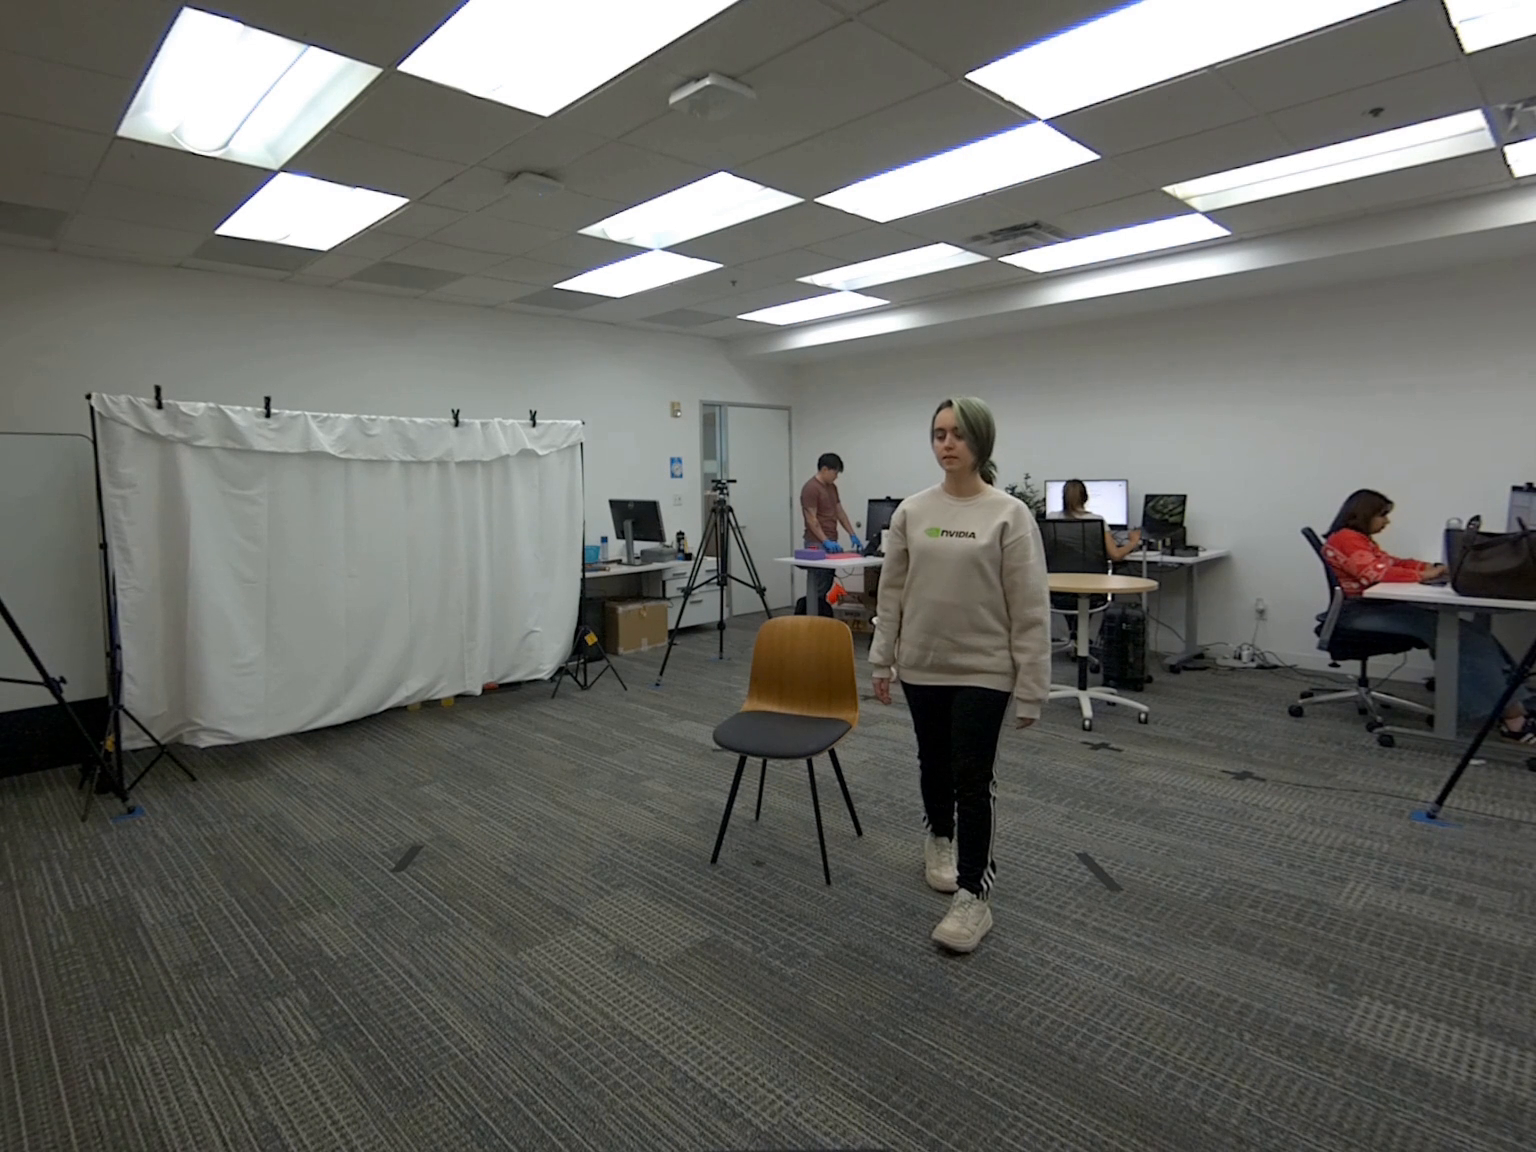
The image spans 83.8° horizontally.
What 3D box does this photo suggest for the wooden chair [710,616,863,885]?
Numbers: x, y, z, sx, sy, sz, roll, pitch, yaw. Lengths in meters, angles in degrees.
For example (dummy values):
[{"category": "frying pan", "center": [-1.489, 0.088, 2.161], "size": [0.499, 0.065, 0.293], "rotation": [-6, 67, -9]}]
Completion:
[{"category": "wooden chair", "center": [0.073, 0.608, 3.184], "size": [0.488, 0.877, 0.512], "rotation": [1, 0, 23]}]
